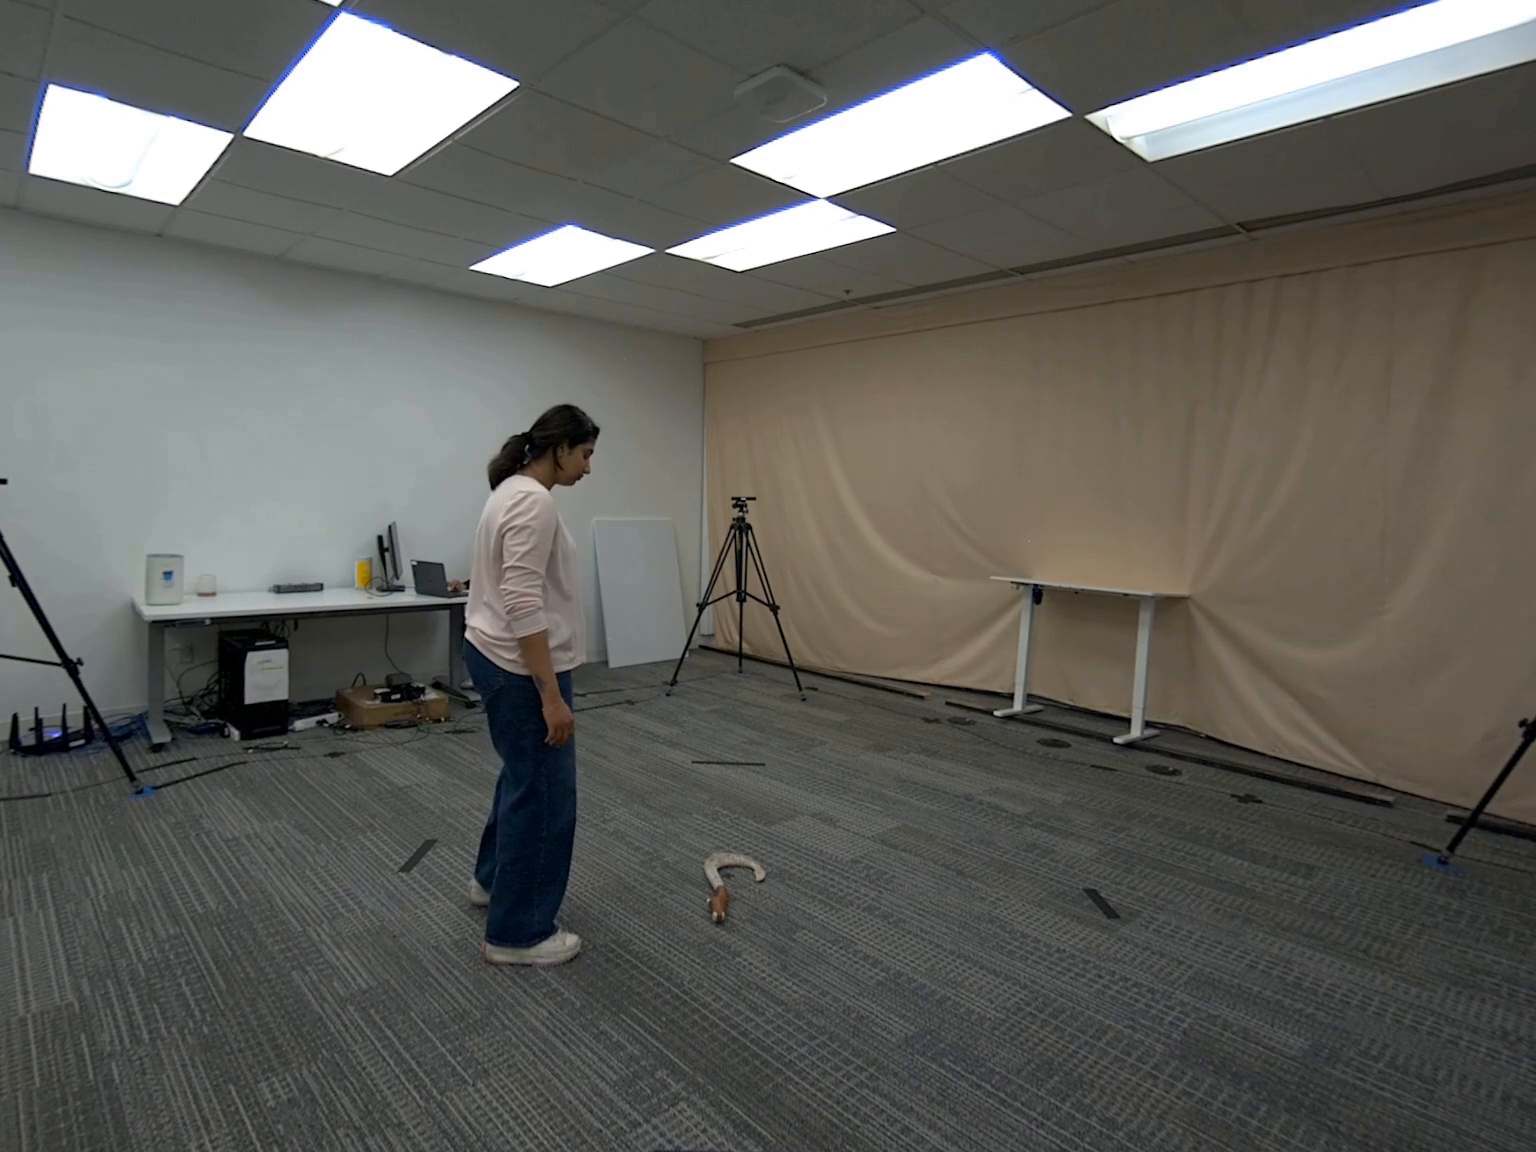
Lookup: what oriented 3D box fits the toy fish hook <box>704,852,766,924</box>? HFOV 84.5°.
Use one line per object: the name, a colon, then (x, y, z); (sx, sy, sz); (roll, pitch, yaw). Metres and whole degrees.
toy fish hook: (-0.124, 1.095, 2.979); (0.224, 0.048, 0.508); (0, 6, -2)
